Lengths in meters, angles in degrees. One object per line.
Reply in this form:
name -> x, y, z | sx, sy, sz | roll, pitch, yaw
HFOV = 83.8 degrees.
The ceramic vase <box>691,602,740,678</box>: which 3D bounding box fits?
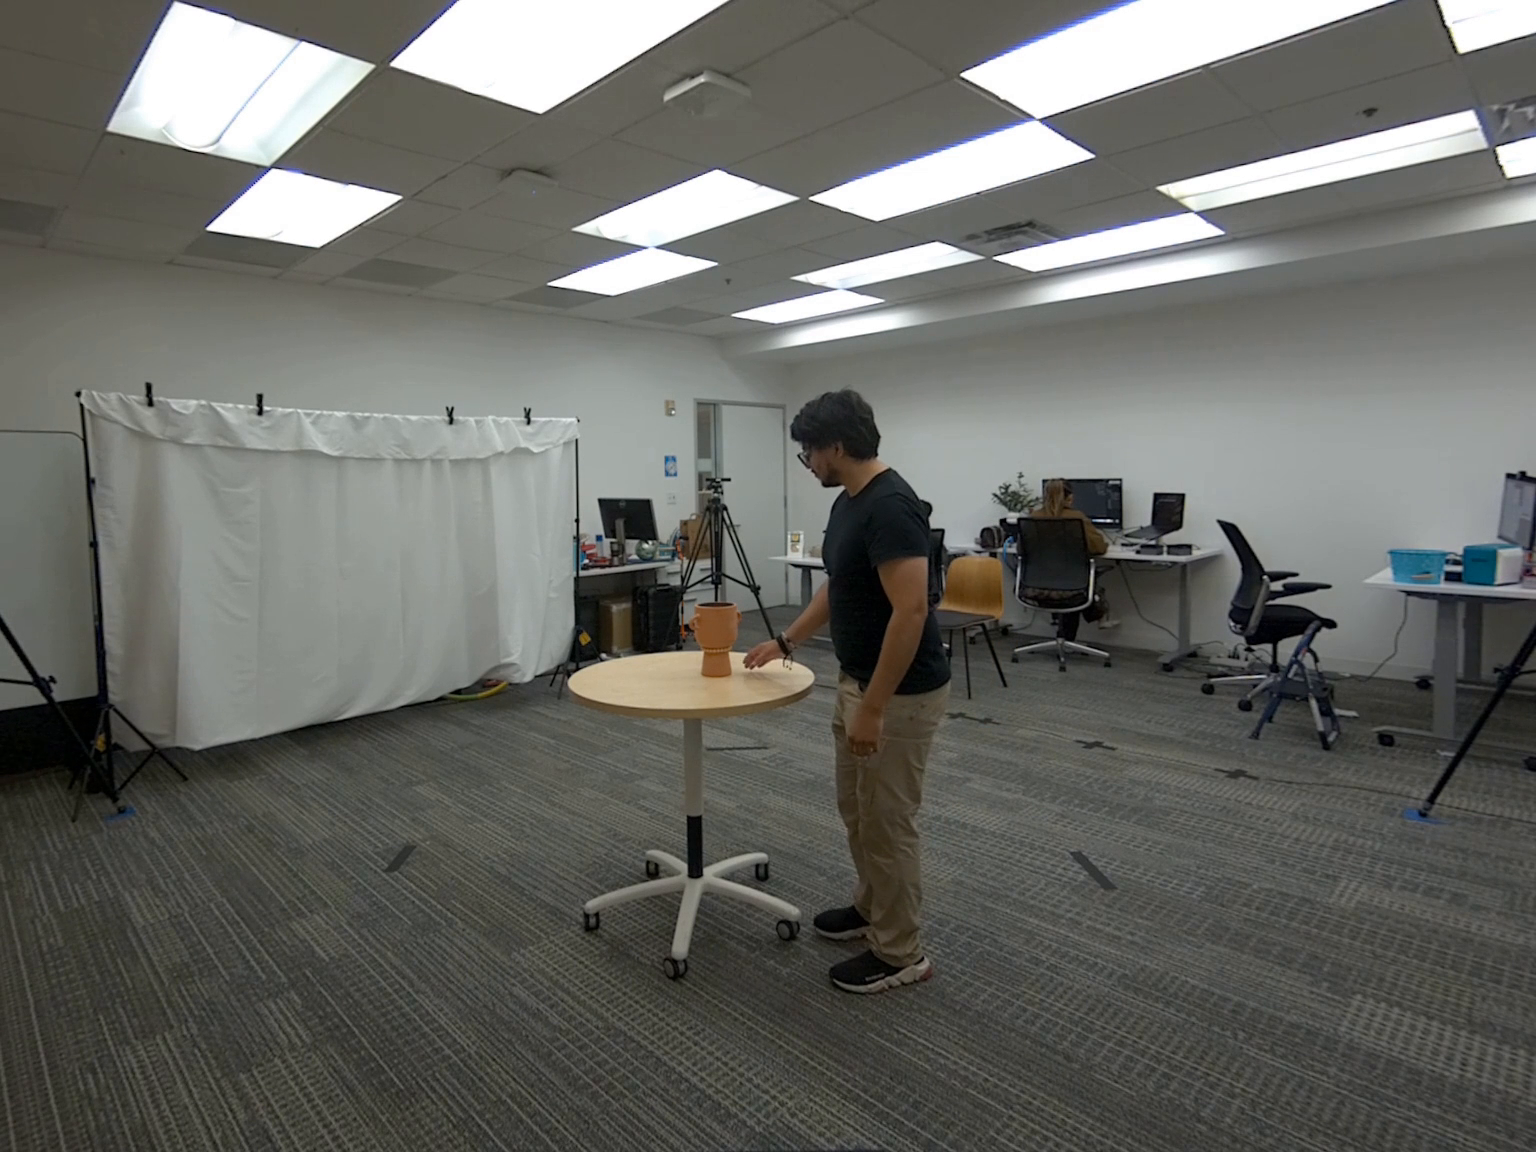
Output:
ceramic vase -> -0.152, 0.200, 2.692 | 0.159, 0.219, 0.135 | -1, 5, 3
